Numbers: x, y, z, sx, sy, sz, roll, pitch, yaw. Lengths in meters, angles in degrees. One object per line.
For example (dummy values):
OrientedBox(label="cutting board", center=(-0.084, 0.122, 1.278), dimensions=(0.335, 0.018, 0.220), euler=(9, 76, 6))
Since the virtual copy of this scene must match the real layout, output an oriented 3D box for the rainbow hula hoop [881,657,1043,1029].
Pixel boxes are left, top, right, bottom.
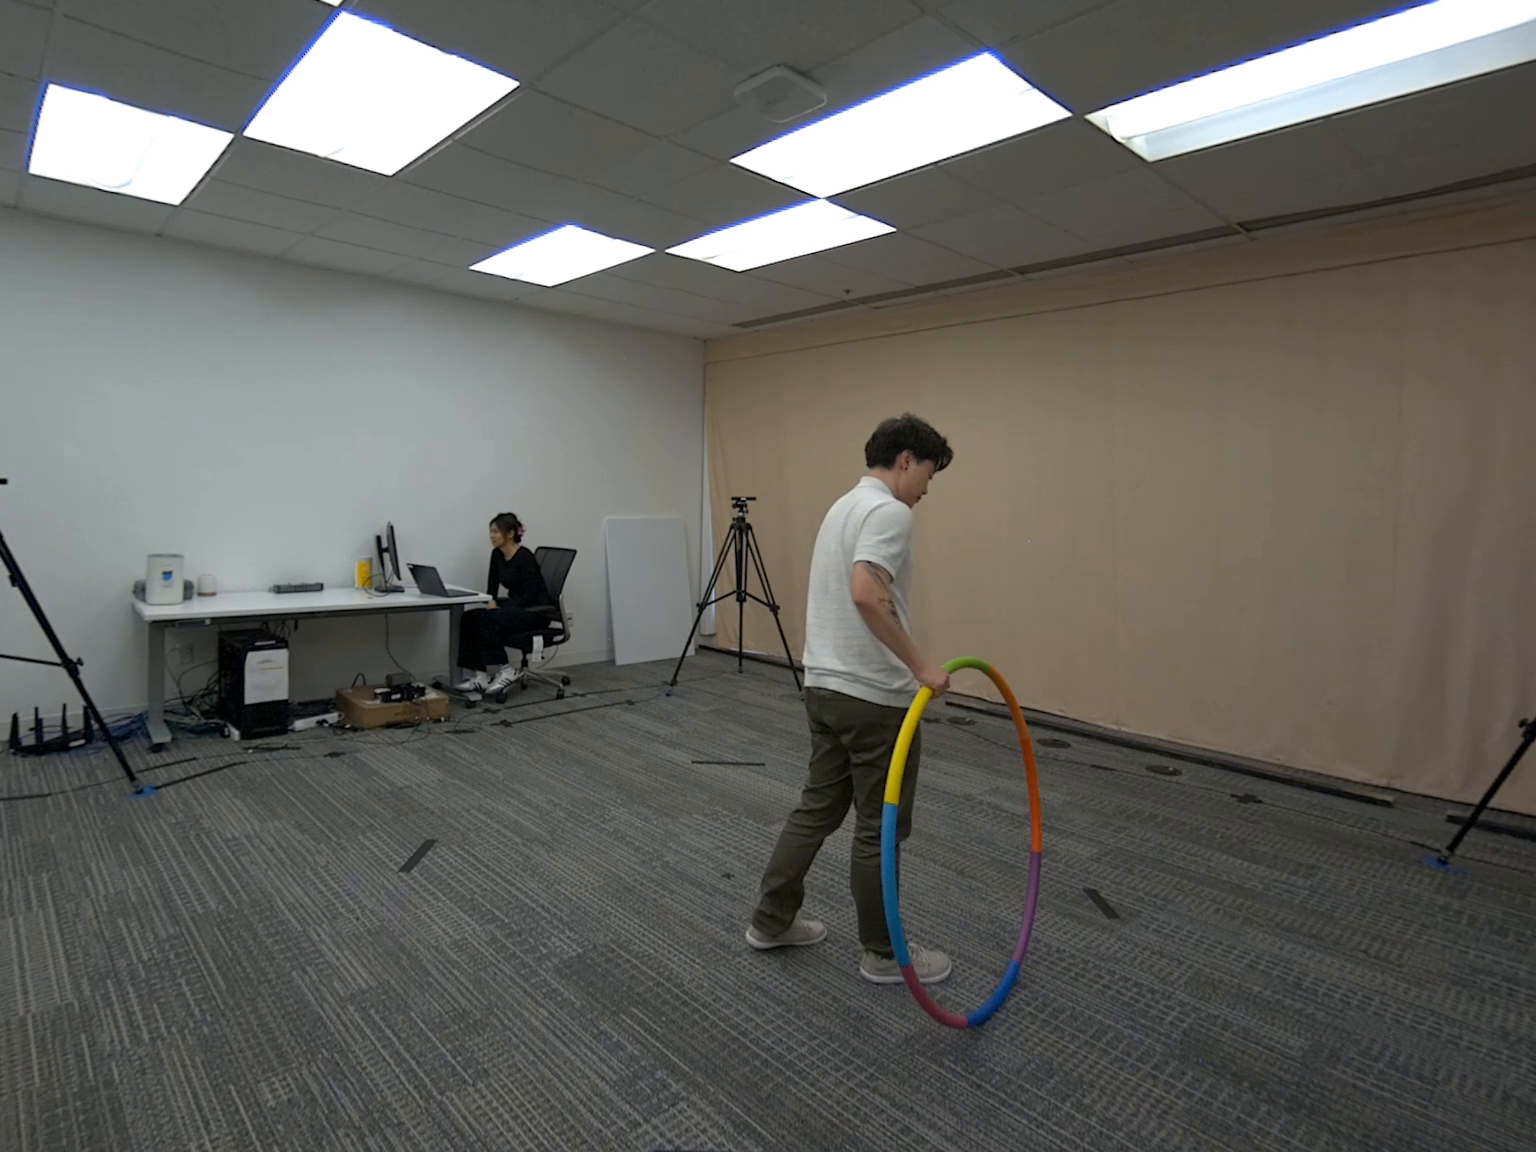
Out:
OrientedBox(label="rainbow hula hoop", center=(0.576, 0.717, 2.366), dimensions=(0.036, 0.981, 0.957), euler=(-10, -3, 37))
